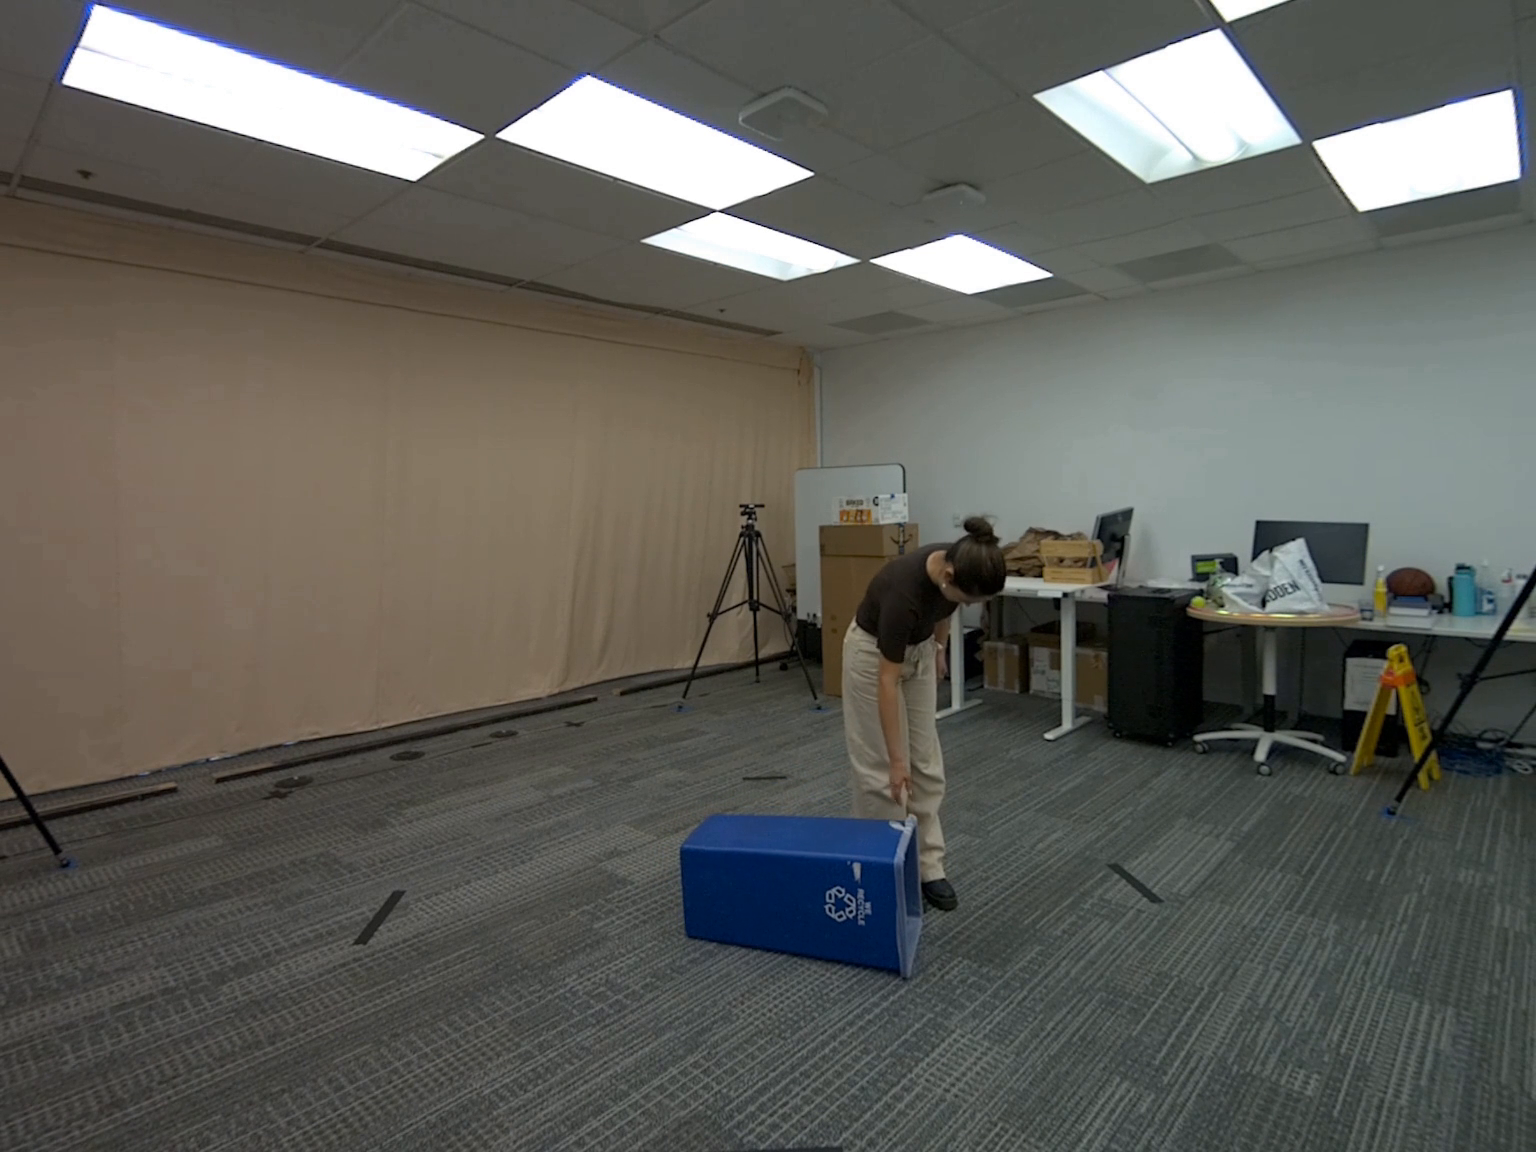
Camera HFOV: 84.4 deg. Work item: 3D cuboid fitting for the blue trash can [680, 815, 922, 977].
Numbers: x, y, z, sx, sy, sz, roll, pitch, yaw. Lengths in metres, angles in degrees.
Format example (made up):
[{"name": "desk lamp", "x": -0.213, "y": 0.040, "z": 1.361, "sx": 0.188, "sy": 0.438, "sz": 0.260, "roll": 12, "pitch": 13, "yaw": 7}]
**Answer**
[{"name": "blue trash can", "x": 0.110, "y": 0.993, "z": 2.727, "sx": 0.728, "sy": 0.373, "sz": 0.371, "roll": -3, "pitch": 3, "yaw": 20}]
